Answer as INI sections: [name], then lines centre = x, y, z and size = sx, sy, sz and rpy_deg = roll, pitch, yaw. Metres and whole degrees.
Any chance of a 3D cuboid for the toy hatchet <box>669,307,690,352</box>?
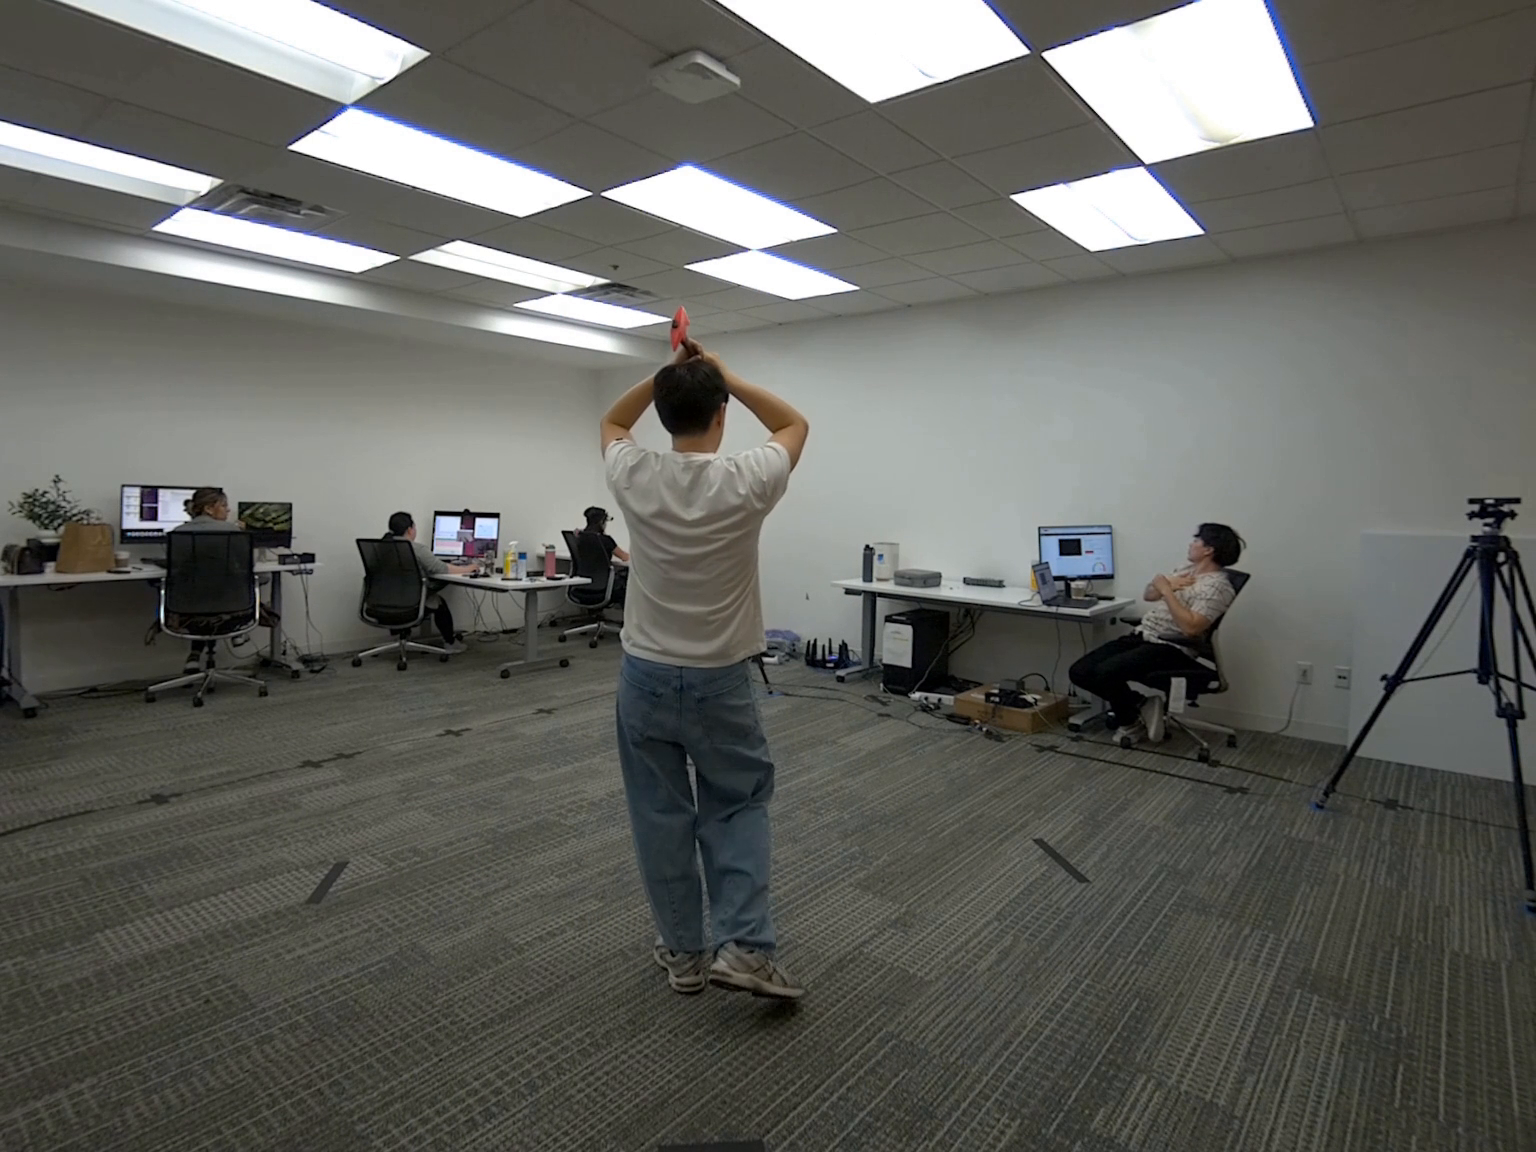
[toy hatchet]
centre = -0.214, -0.655, 2.333
size = 0.030, 0.131, 0.264
rpy_deg = -2, 0, 18
